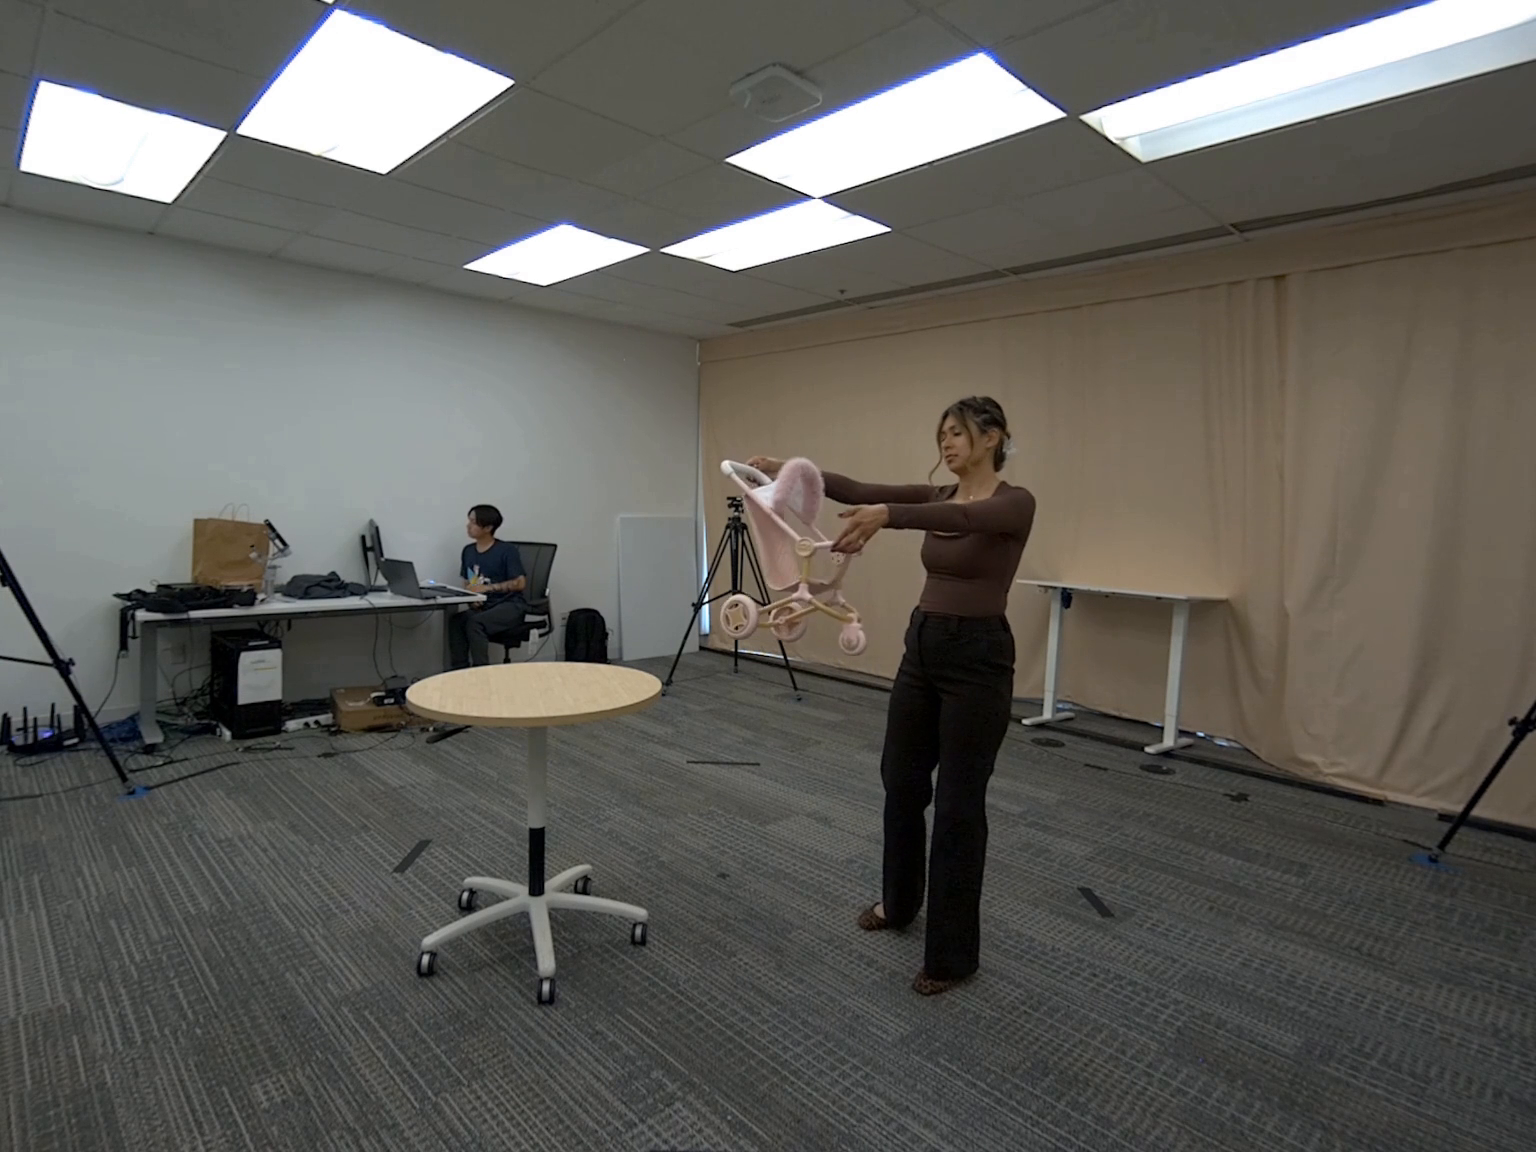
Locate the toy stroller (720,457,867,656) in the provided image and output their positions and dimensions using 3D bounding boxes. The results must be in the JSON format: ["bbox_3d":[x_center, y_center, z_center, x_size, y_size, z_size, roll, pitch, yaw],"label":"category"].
[{"bbox_3d":[0.073,-0.053,2.128,0.347,0.539,0.274,-11,-12,36],"label":"toy stroller"}]
